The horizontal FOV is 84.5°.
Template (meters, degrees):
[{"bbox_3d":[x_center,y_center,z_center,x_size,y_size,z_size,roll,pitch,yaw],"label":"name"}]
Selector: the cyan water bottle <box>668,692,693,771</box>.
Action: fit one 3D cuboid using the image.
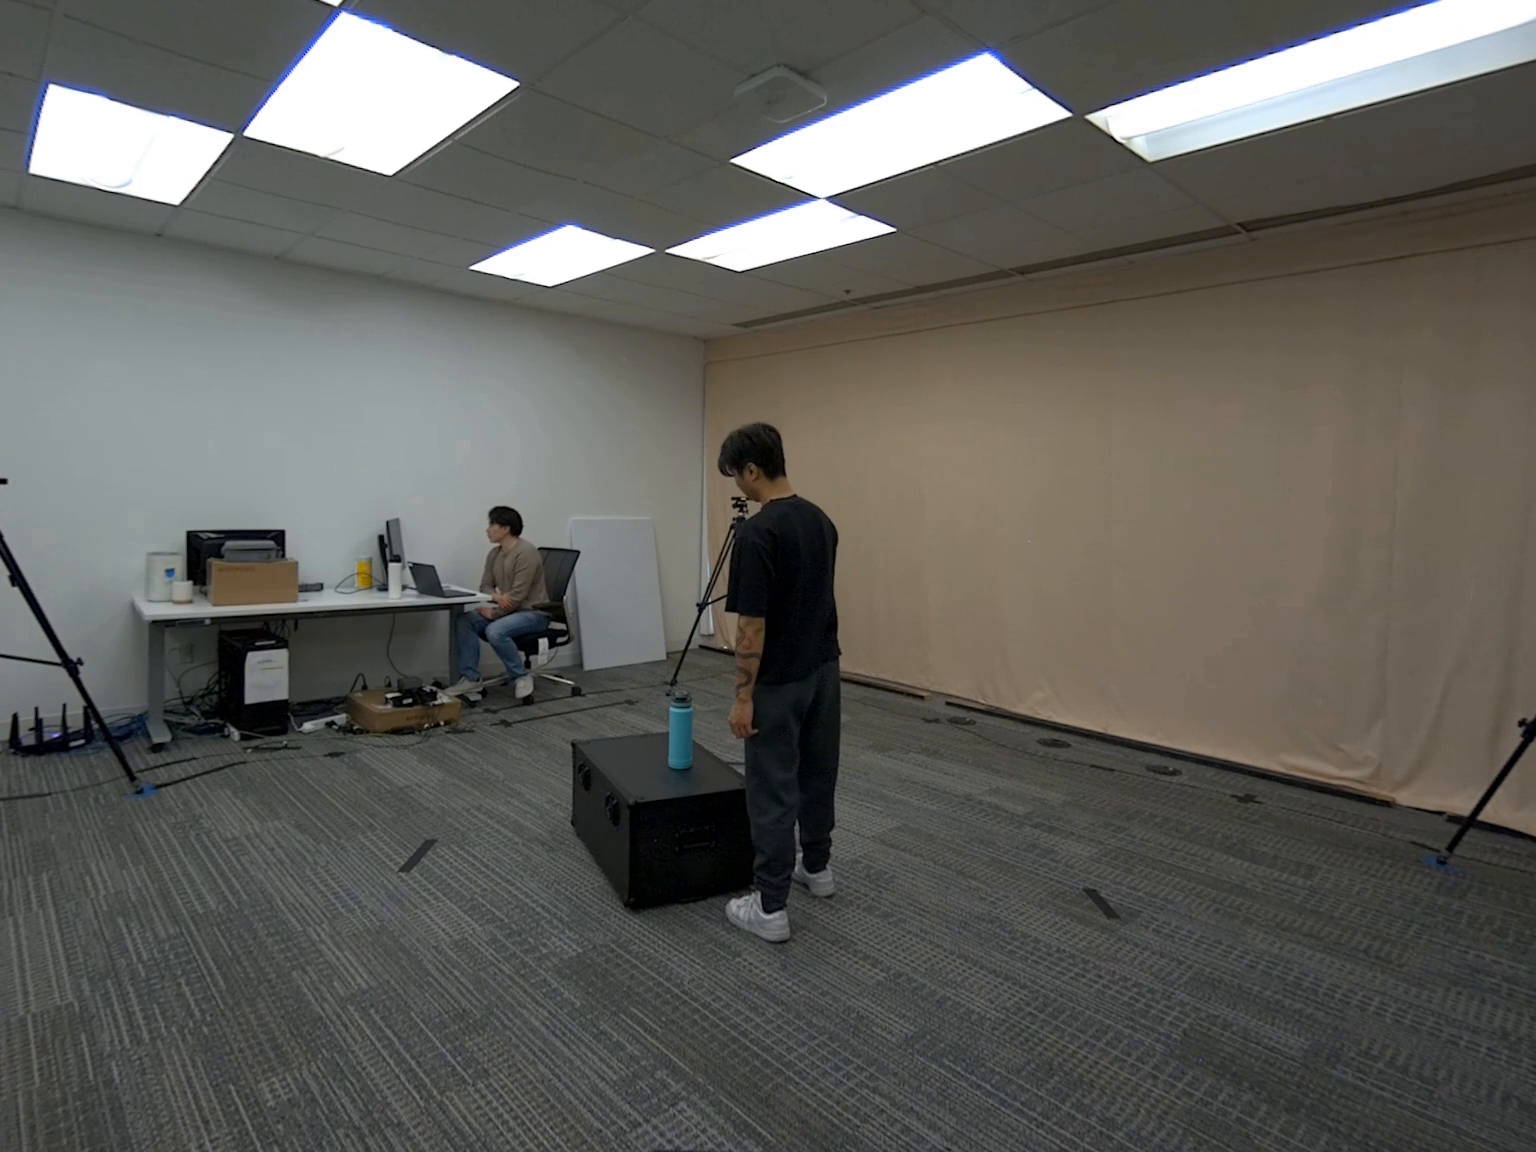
[{"bbox_3d":[-0.342,0.582,3.191,0.092,0.283,0.092,2,1,-1],"label":"cyan water bottle"}]
